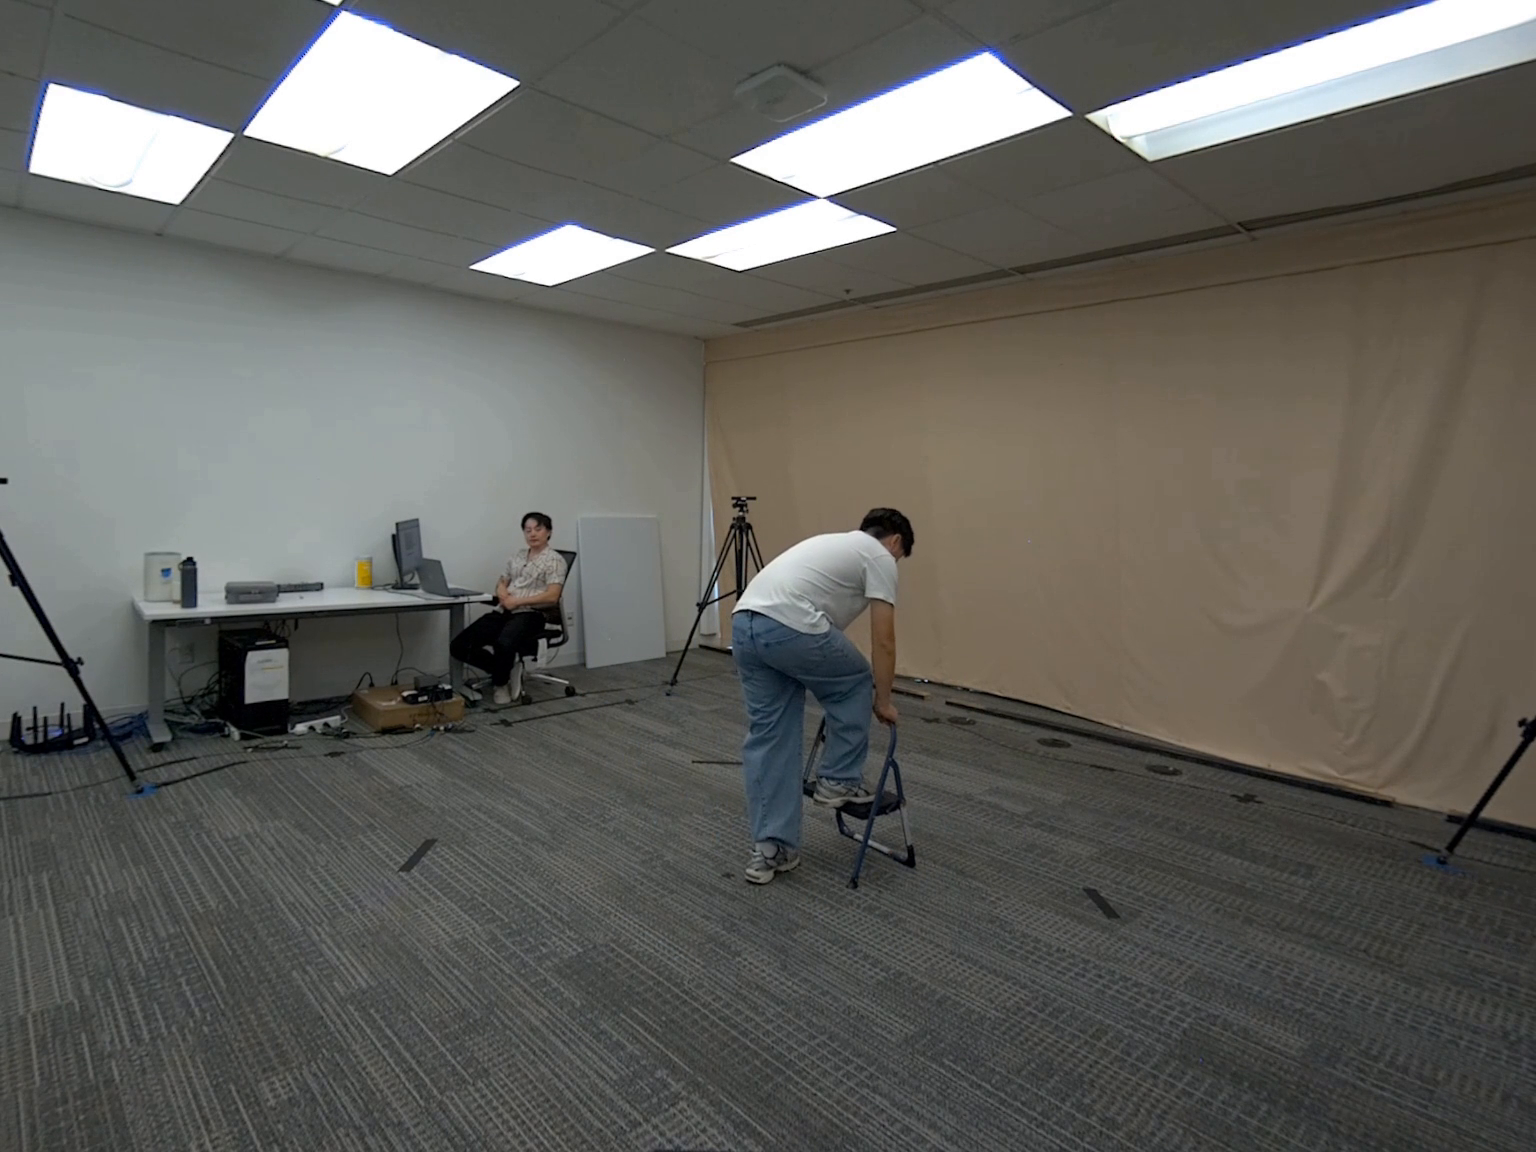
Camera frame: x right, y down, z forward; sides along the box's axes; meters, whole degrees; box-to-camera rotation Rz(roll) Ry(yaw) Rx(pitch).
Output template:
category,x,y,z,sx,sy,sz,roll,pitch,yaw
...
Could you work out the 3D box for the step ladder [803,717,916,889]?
category,x,y,z,sx,sy,sz,roll,pitch,yaw
step ladder,0.313,0.799,3.276,0.341,0.605,0.441,0,4,-37
